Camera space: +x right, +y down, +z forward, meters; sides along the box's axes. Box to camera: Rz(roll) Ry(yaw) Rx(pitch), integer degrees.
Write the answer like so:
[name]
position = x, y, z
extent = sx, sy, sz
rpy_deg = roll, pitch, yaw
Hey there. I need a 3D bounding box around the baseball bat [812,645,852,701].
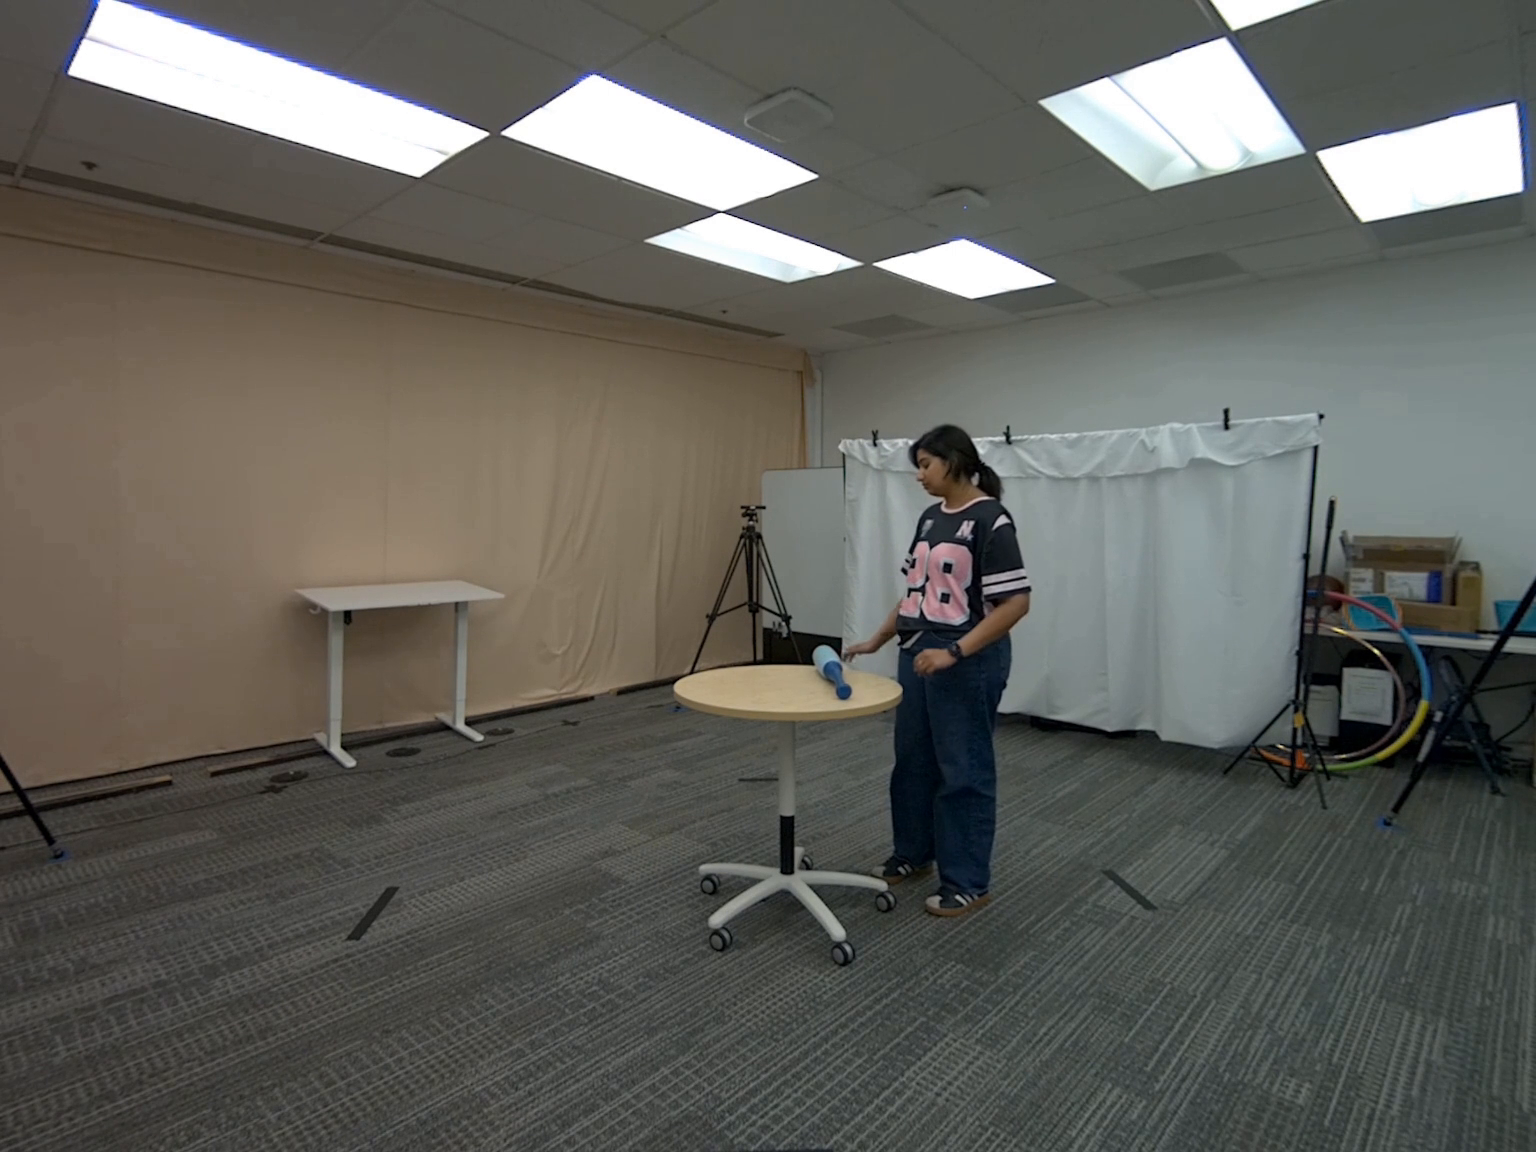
[baseball bat]
position = 0.235, 0.335, 2.883
extent = 0.089, 0.089, 0.547
rpy_deg = 0, 7, -5
